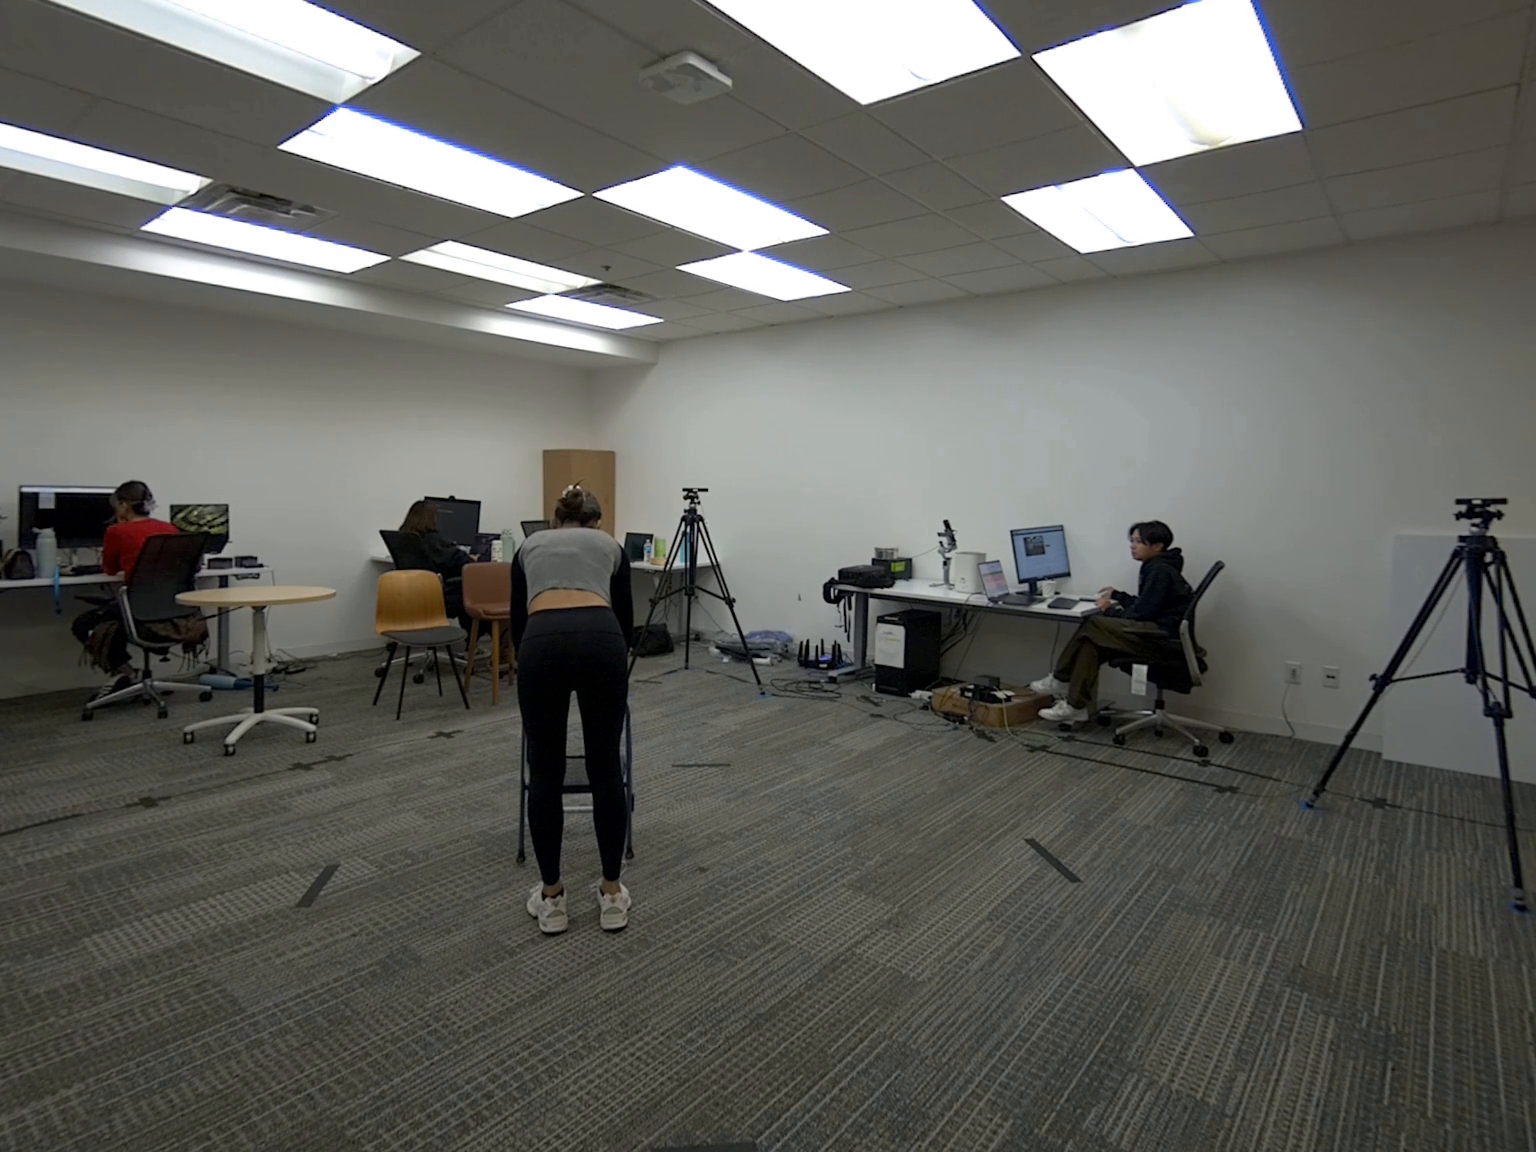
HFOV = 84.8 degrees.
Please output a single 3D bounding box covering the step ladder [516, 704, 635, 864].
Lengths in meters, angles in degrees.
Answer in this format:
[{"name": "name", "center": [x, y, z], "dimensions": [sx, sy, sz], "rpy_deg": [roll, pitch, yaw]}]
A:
[{"name": "step ladder", "center": [-0.734, 0.706, 3.221], "dimensions": [0.428, 0.599, 0.355], "rpy_deg": [-1, 12, -6]}]
